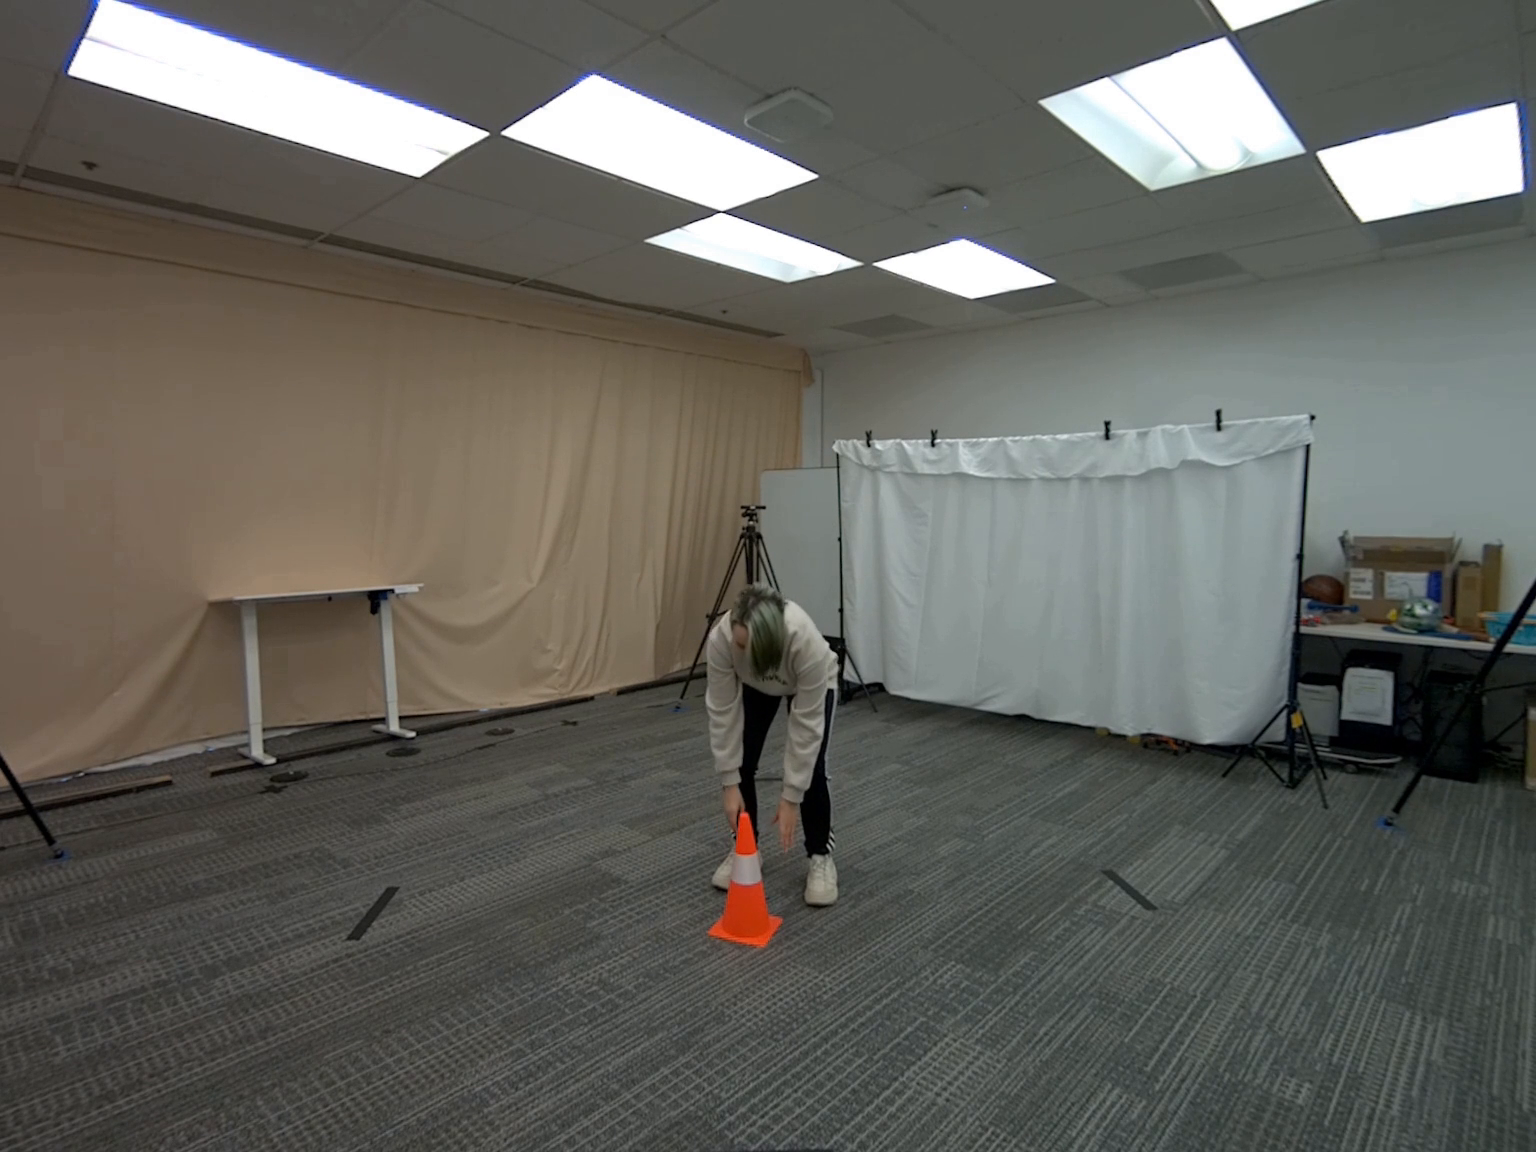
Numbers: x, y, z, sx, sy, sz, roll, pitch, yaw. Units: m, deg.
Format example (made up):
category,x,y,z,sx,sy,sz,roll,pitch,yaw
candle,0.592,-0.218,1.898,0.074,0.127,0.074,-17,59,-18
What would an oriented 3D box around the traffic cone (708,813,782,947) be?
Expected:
category,x,y,z,sx,sy,sz,roll,pitch,yaw
traffic cone,-0.075,0.975,2.776,0.210,0.383,0.199,0,3,21
